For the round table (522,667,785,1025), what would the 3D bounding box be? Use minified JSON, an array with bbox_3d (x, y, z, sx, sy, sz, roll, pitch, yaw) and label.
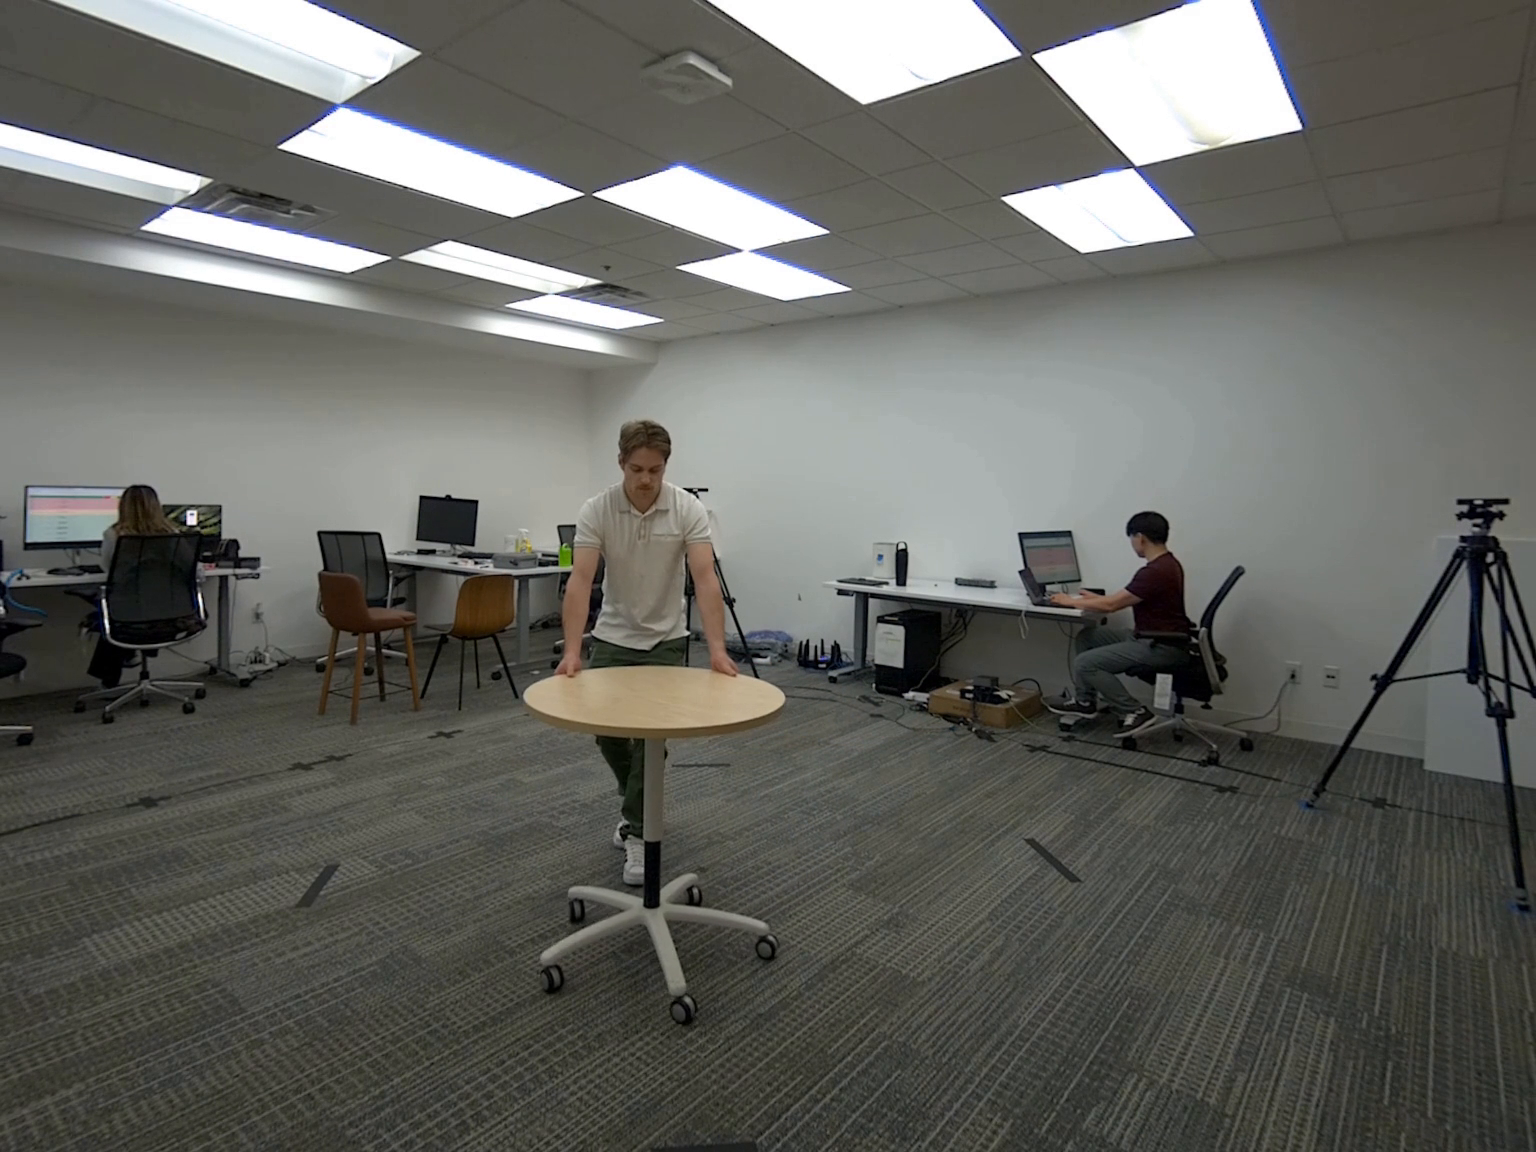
[{"bbox_3d":[-0.353,0.726,2.543,0.784,0.784,0.789,1,4,-2],"label":"round table"}]
